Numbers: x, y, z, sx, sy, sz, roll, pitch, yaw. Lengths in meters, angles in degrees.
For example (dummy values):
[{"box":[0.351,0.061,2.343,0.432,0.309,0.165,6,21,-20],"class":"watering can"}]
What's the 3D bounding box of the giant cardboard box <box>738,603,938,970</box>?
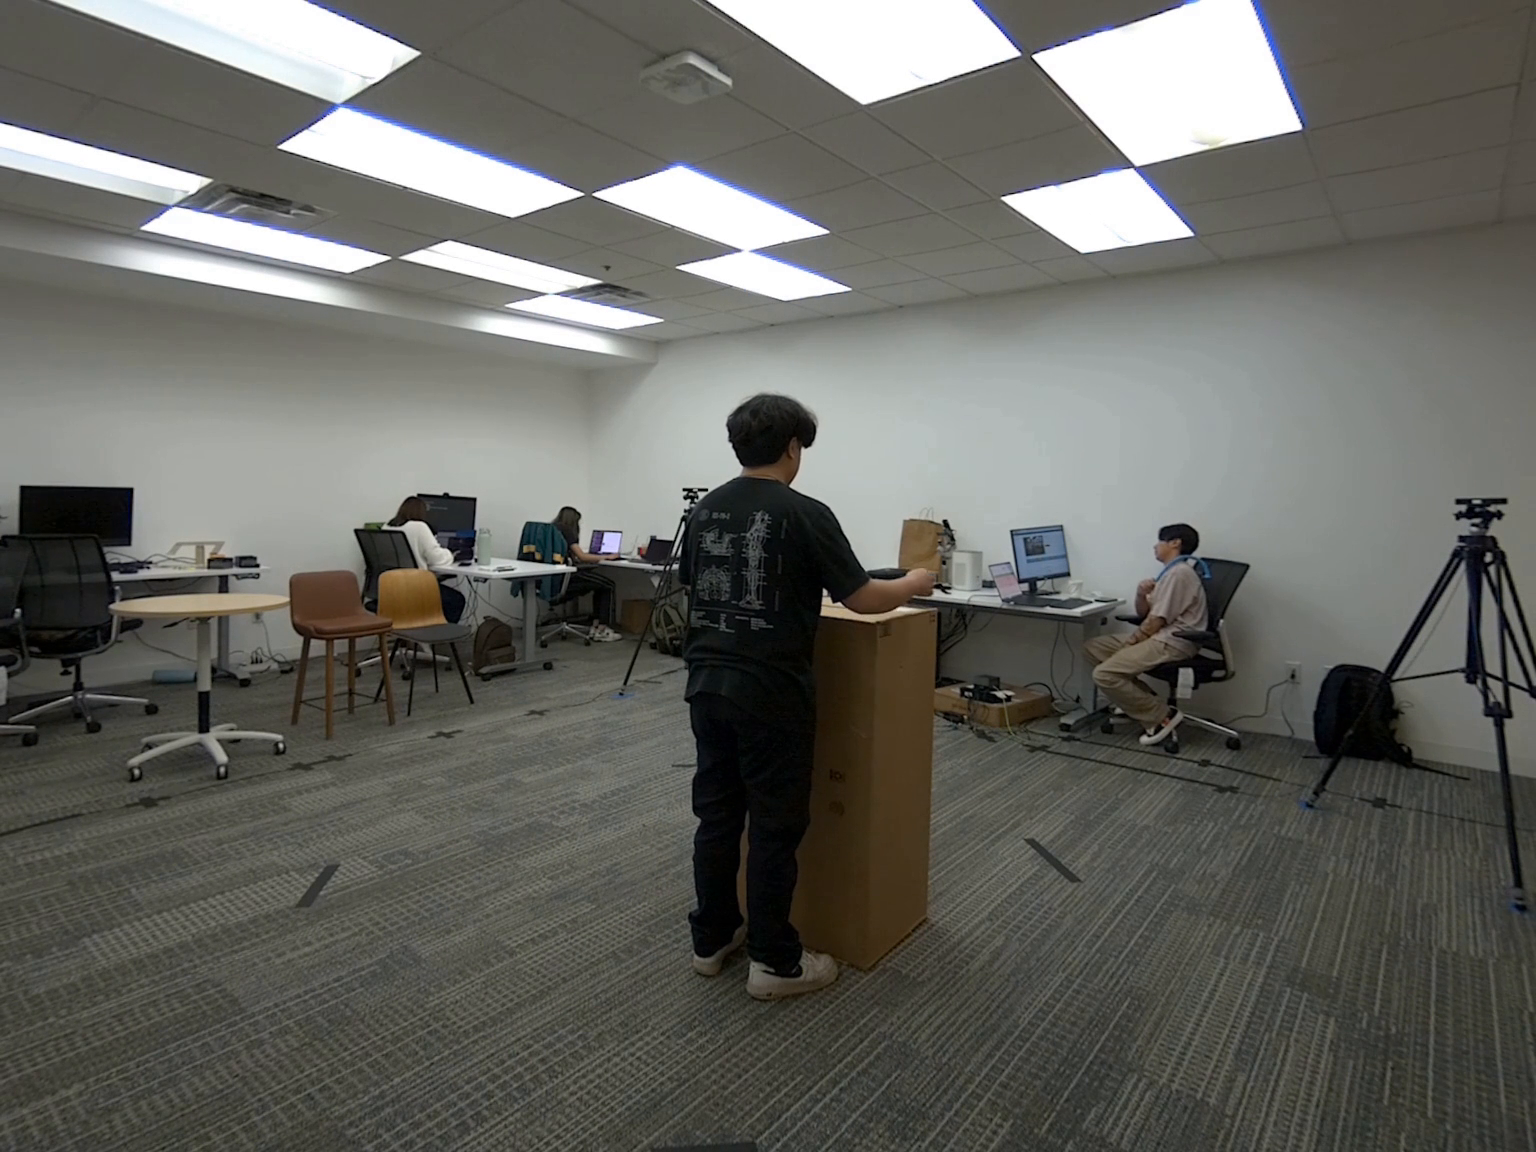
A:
[{"box":[0.179,0.598,2.785,0.603,1.025,0.433,4,3,37],"class":"giant cardboard box"}]
